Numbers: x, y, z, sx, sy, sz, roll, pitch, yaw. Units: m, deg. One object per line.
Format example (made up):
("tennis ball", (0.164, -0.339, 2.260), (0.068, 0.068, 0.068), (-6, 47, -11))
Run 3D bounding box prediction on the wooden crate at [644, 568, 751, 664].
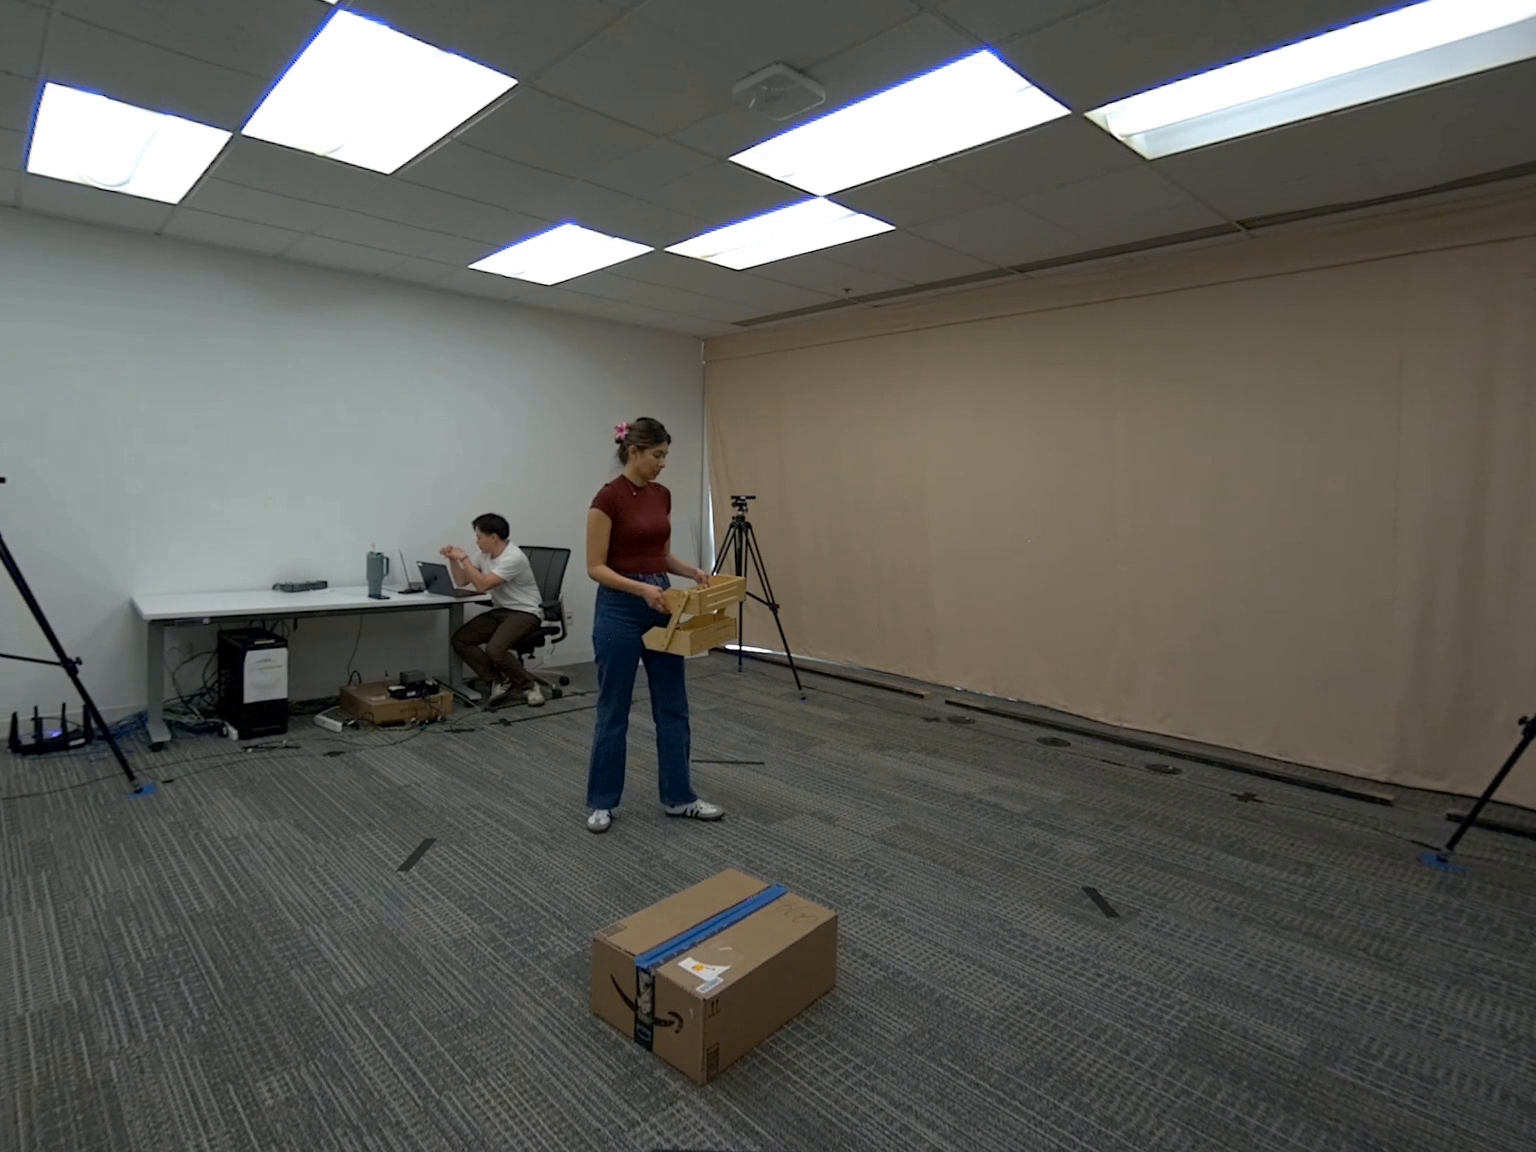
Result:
("wooden crate", (-0.292, 0.144, 3.367), (0.310, 0.271, 0.319), (8, 14, 36))
